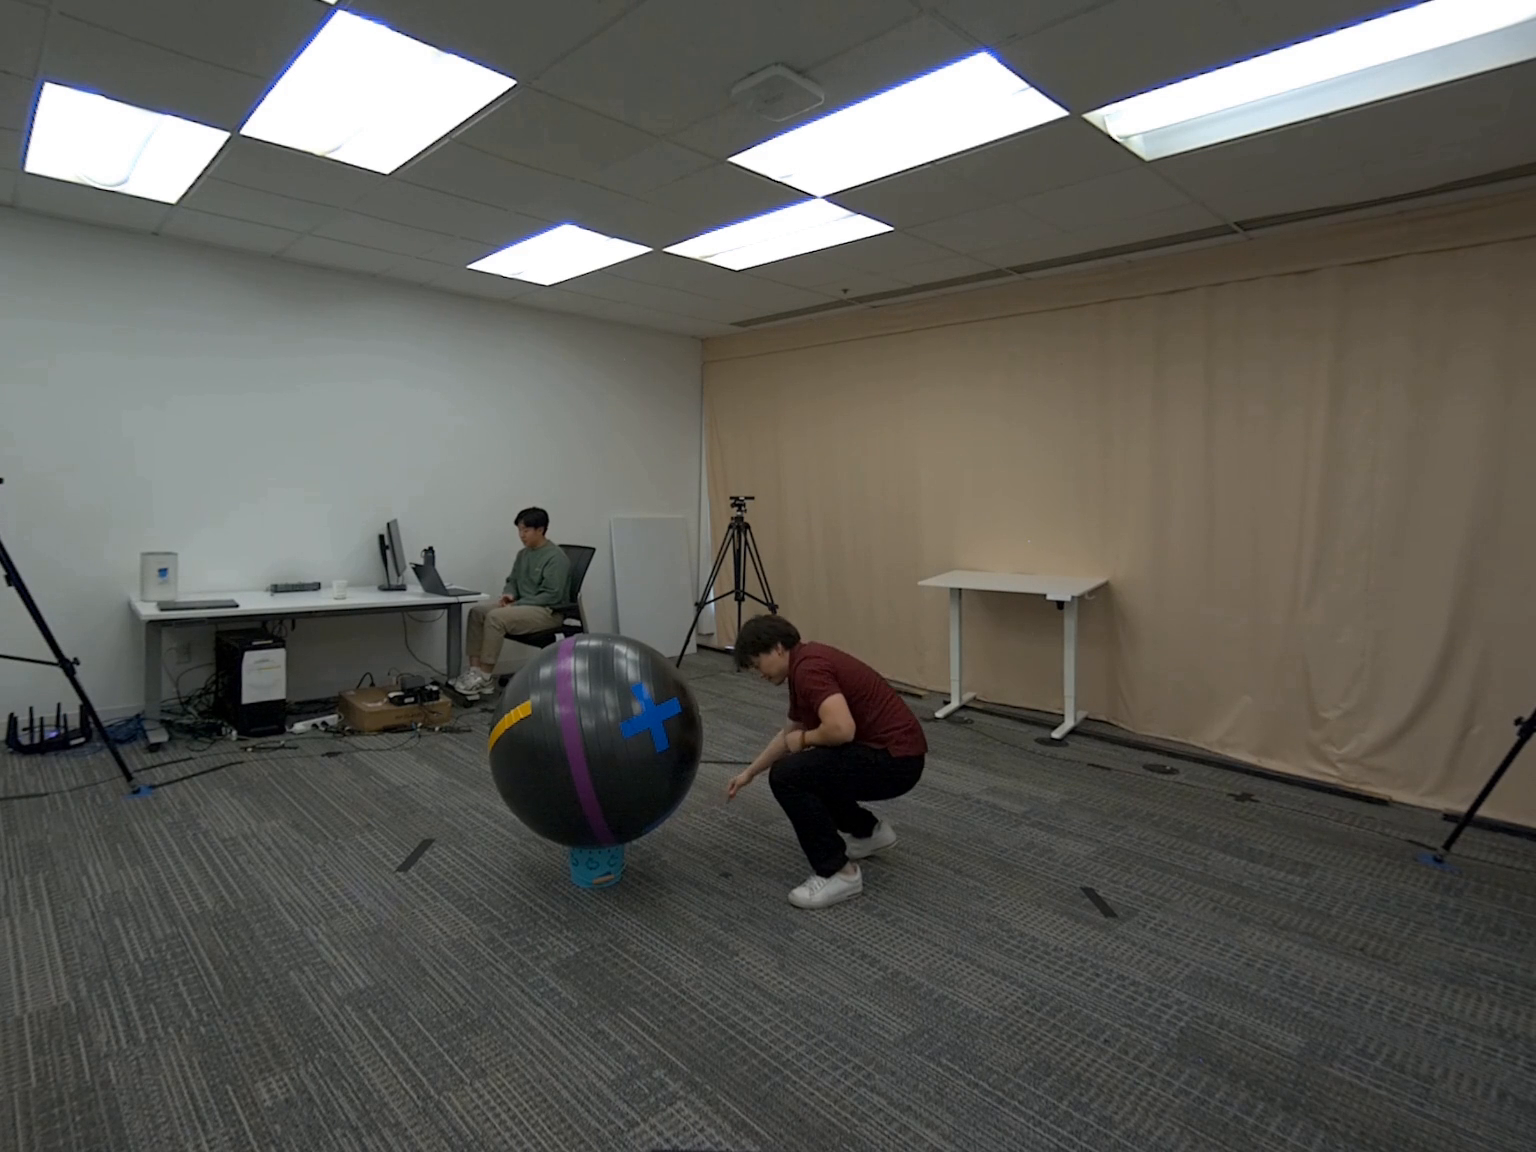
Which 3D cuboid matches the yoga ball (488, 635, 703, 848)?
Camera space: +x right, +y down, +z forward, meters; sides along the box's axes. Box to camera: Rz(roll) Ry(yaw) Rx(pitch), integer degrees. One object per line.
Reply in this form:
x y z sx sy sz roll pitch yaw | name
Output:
-0.628 0.592 3.040 0.757 0.756 0.761 1 4 -1 | yoga ball
